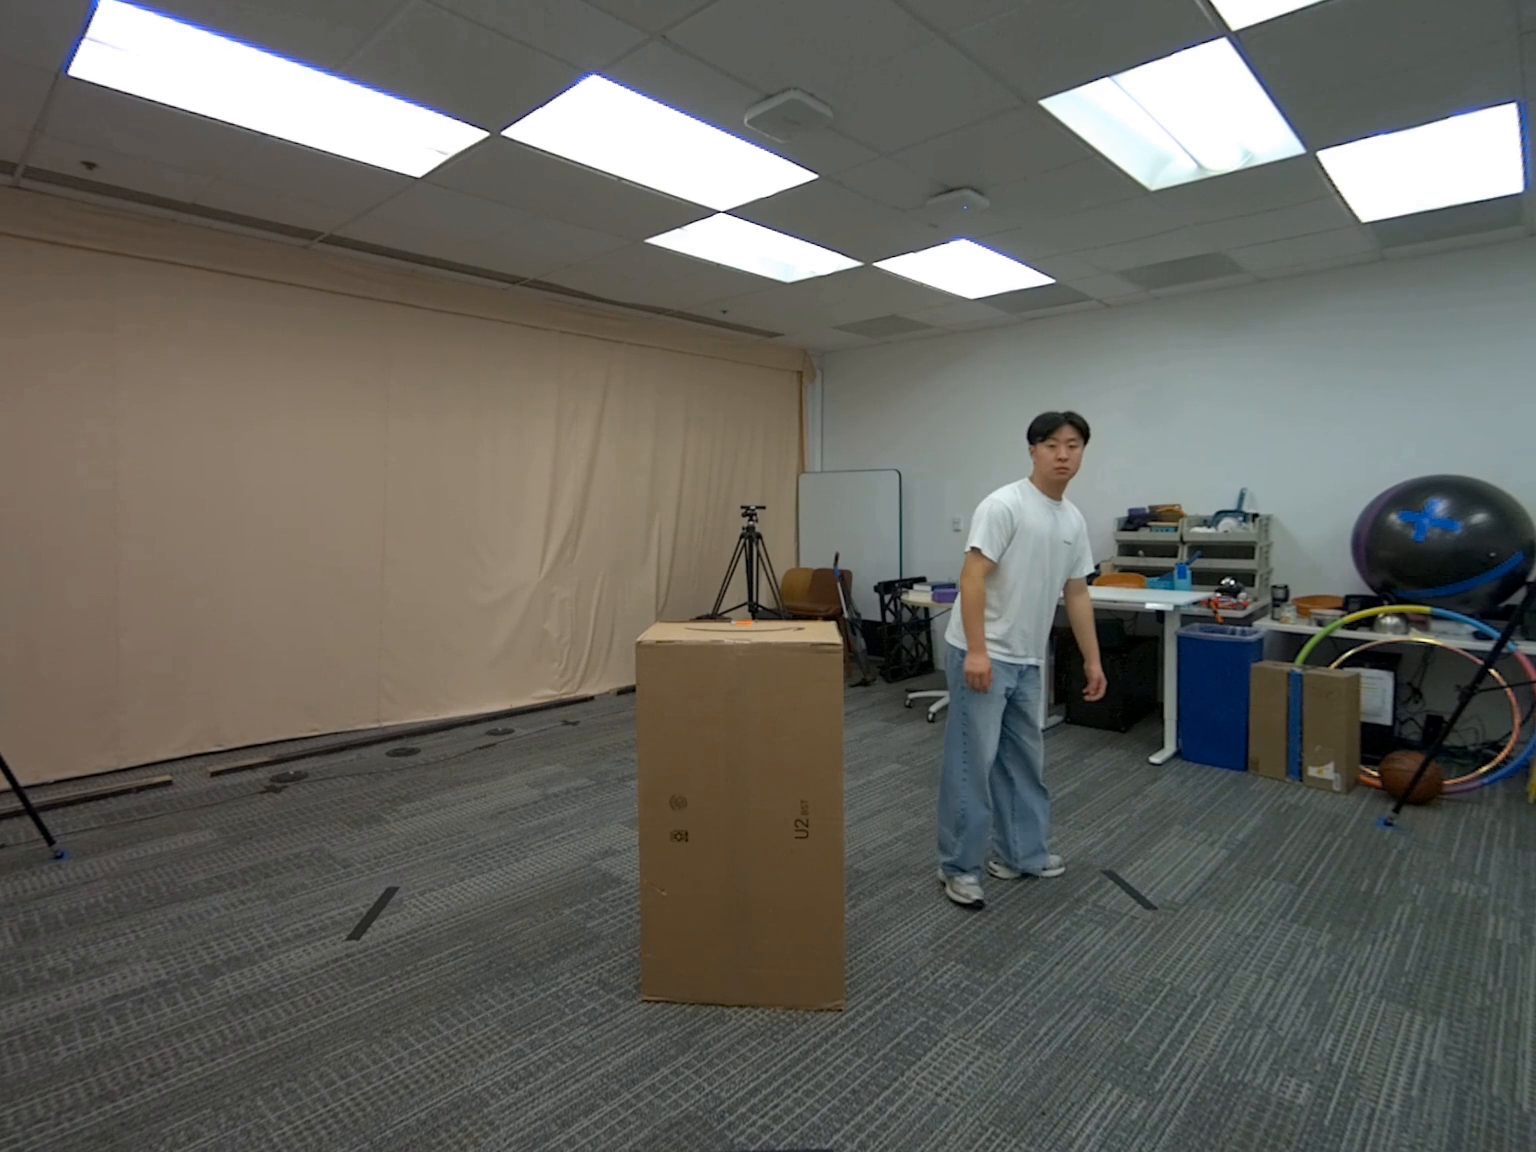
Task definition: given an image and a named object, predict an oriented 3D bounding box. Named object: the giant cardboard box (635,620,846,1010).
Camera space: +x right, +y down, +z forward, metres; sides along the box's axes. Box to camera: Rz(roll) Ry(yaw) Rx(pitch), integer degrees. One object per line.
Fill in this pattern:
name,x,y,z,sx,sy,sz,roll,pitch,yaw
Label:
giant cardboard box,-0.070,0.674,2.522,0.581,1.024,0.424,0,3,5
